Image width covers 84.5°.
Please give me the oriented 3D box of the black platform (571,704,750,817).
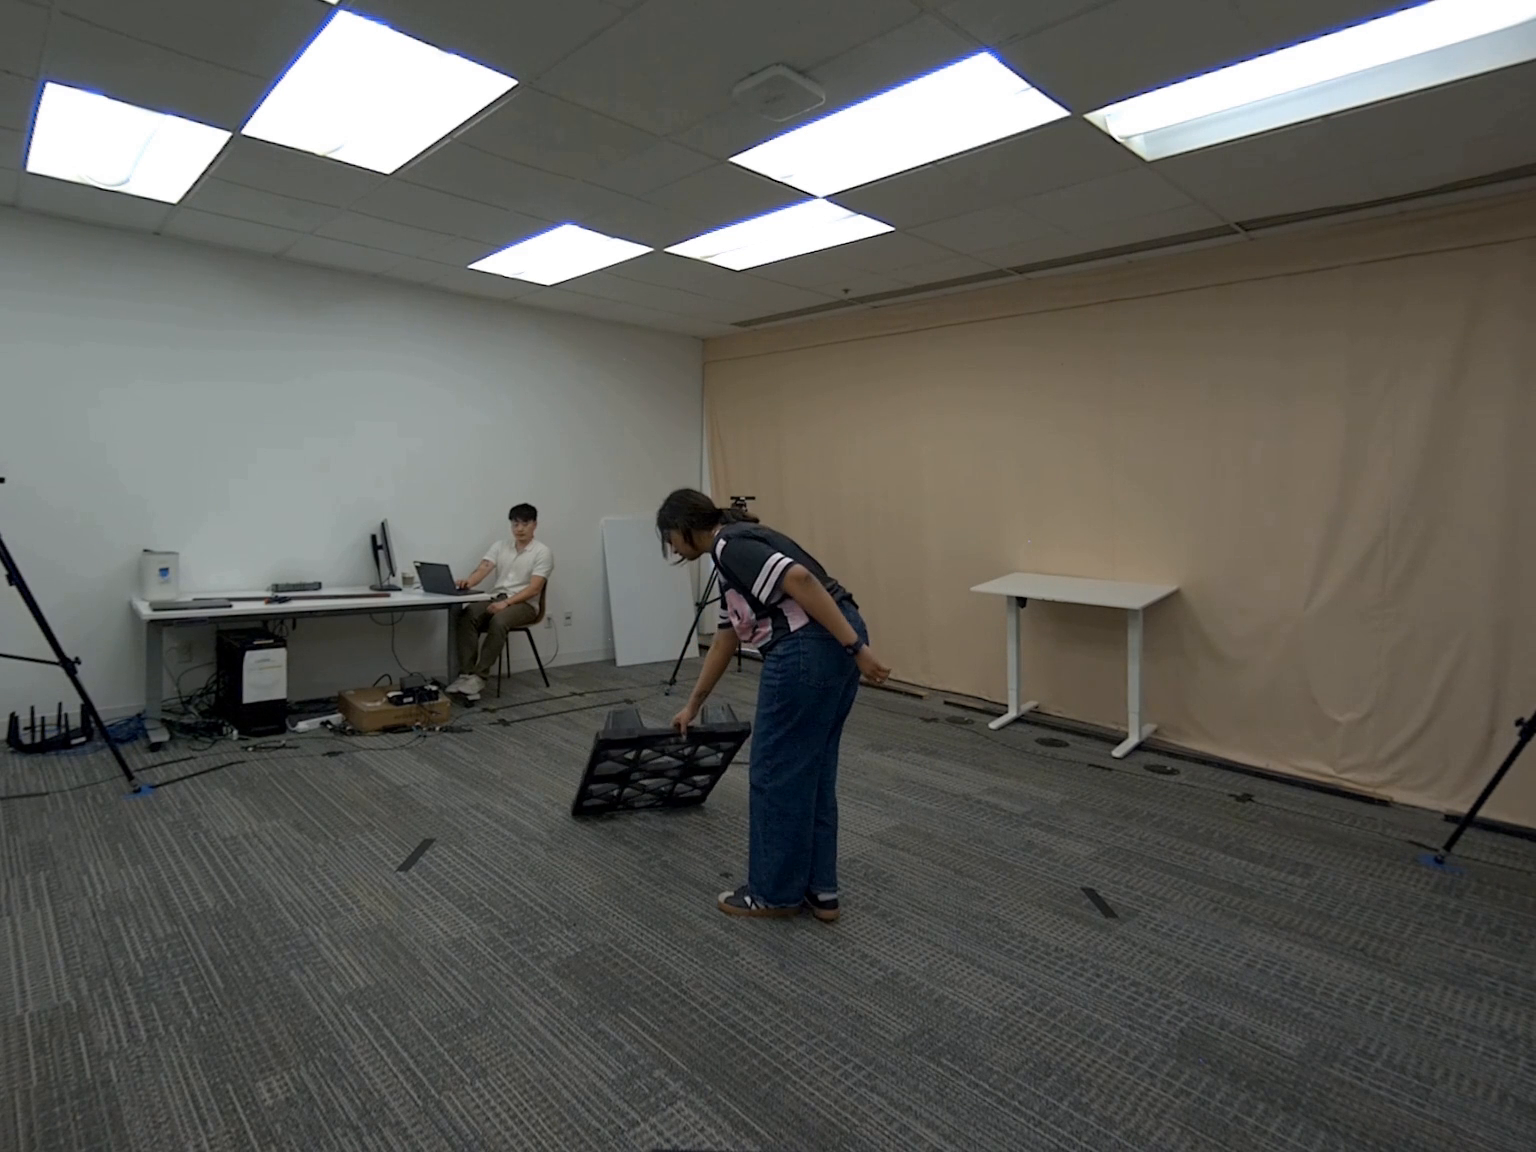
[{"bbox_3d":[-0.470,0.766,3.460,0.596,0.147,0.798,0,-34,-21],"label":"black platform"}]
